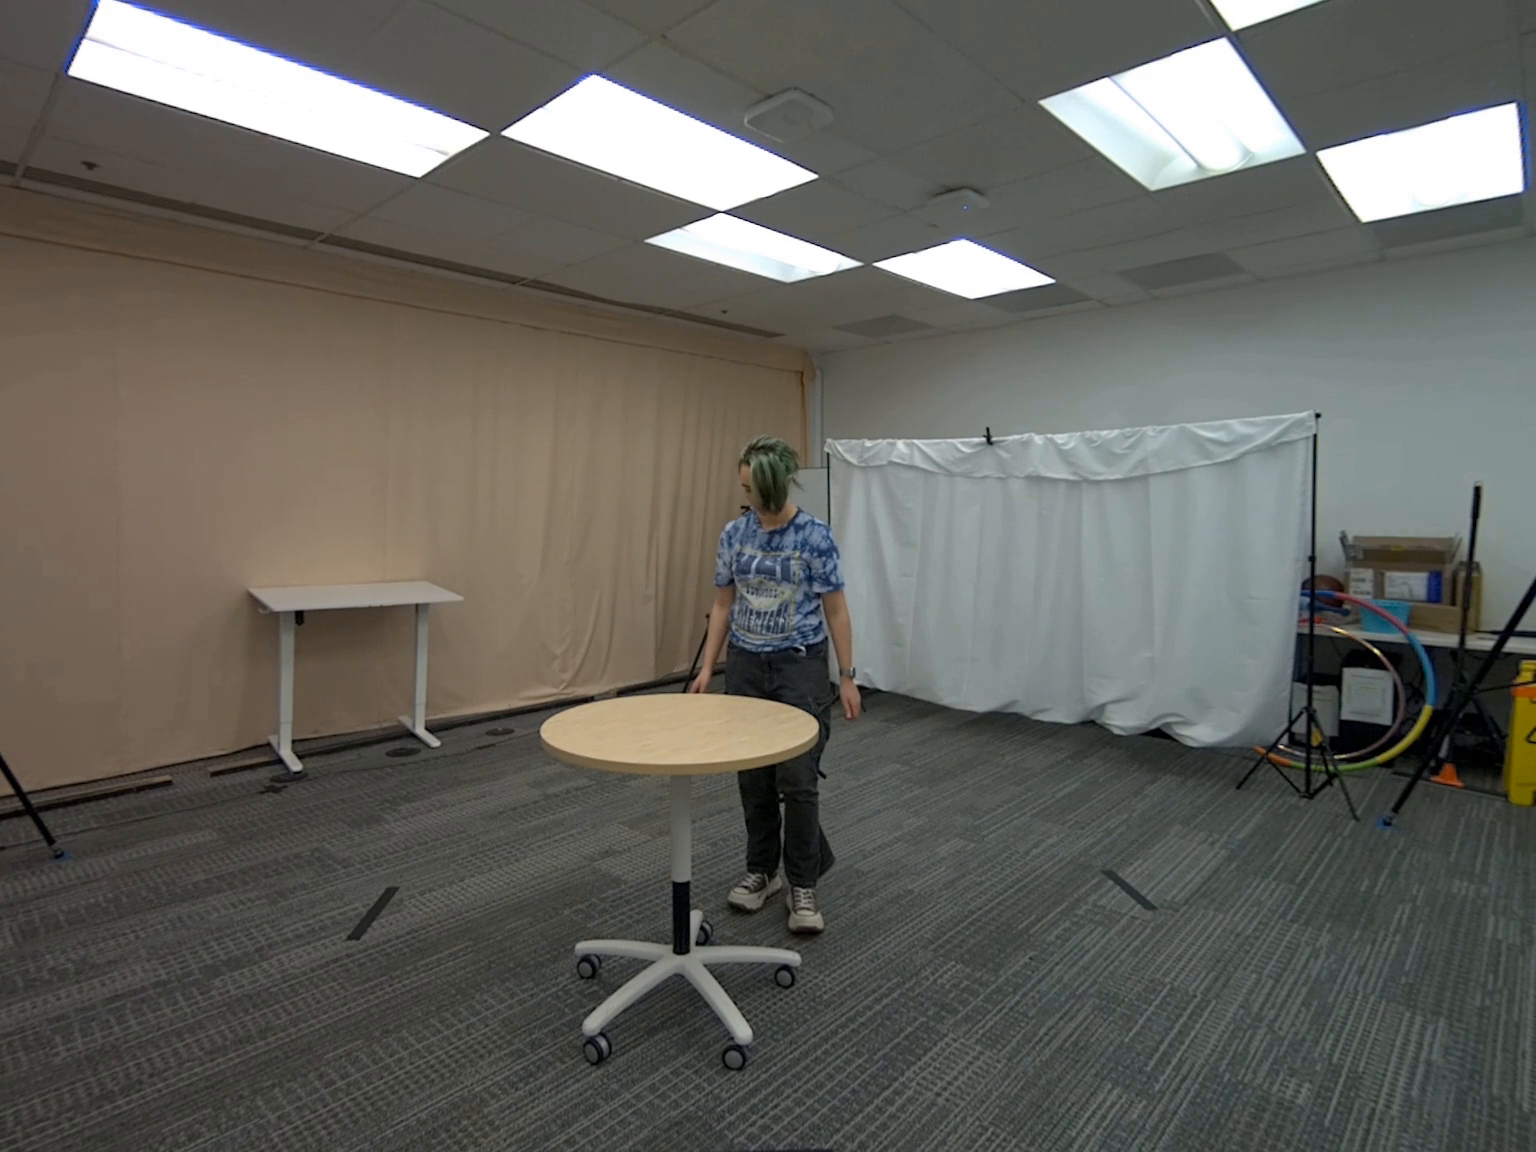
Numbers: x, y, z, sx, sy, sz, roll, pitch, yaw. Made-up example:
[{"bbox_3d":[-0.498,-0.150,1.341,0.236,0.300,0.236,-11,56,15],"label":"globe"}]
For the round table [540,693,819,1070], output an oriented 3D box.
[{"bbox_3d":[-0.253,0.811,2.352,0.763,0.792,0.766,-1,4,-2],"label":"round table"}]
